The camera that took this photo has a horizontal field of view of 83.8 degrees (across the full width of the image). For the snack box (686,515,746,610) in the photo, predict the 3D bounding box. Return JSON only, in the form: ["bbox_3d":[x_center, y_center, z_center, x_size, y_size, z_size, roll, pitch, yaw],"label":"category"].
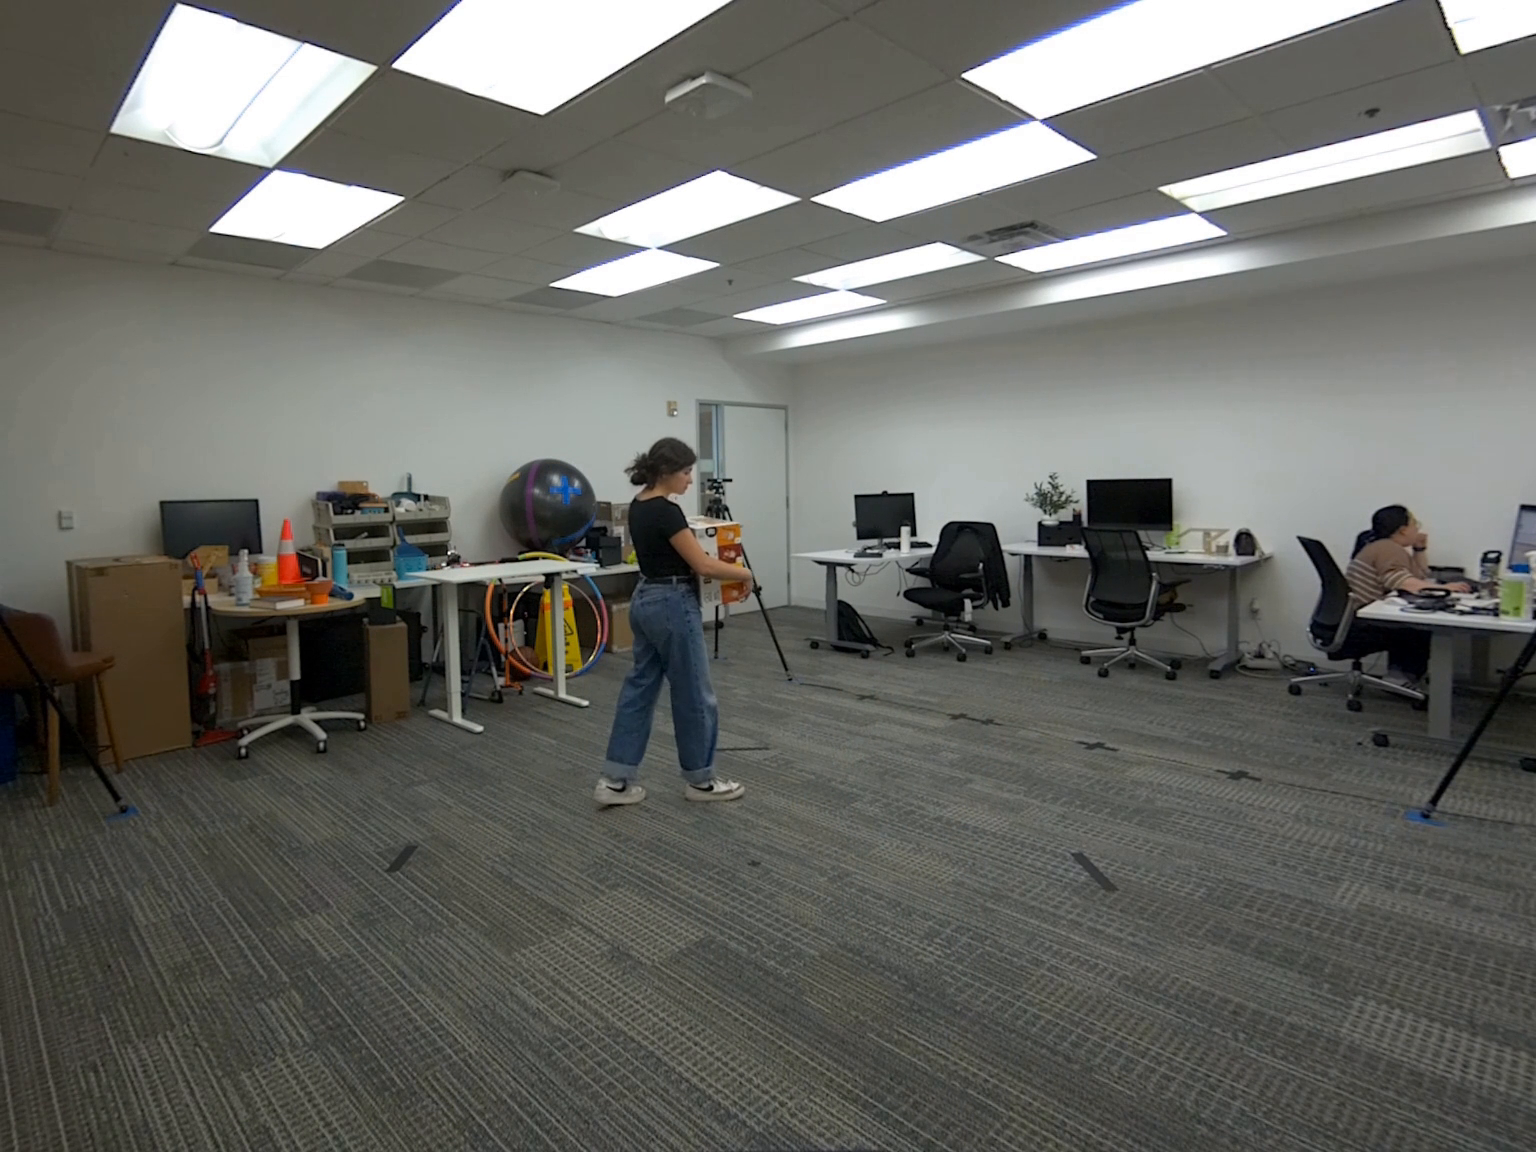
[{"bbox_3d":[-0.287,-0.073,3.776,0.202,0.337,0.416,-8,10,-24],"label":"snack box"}]
